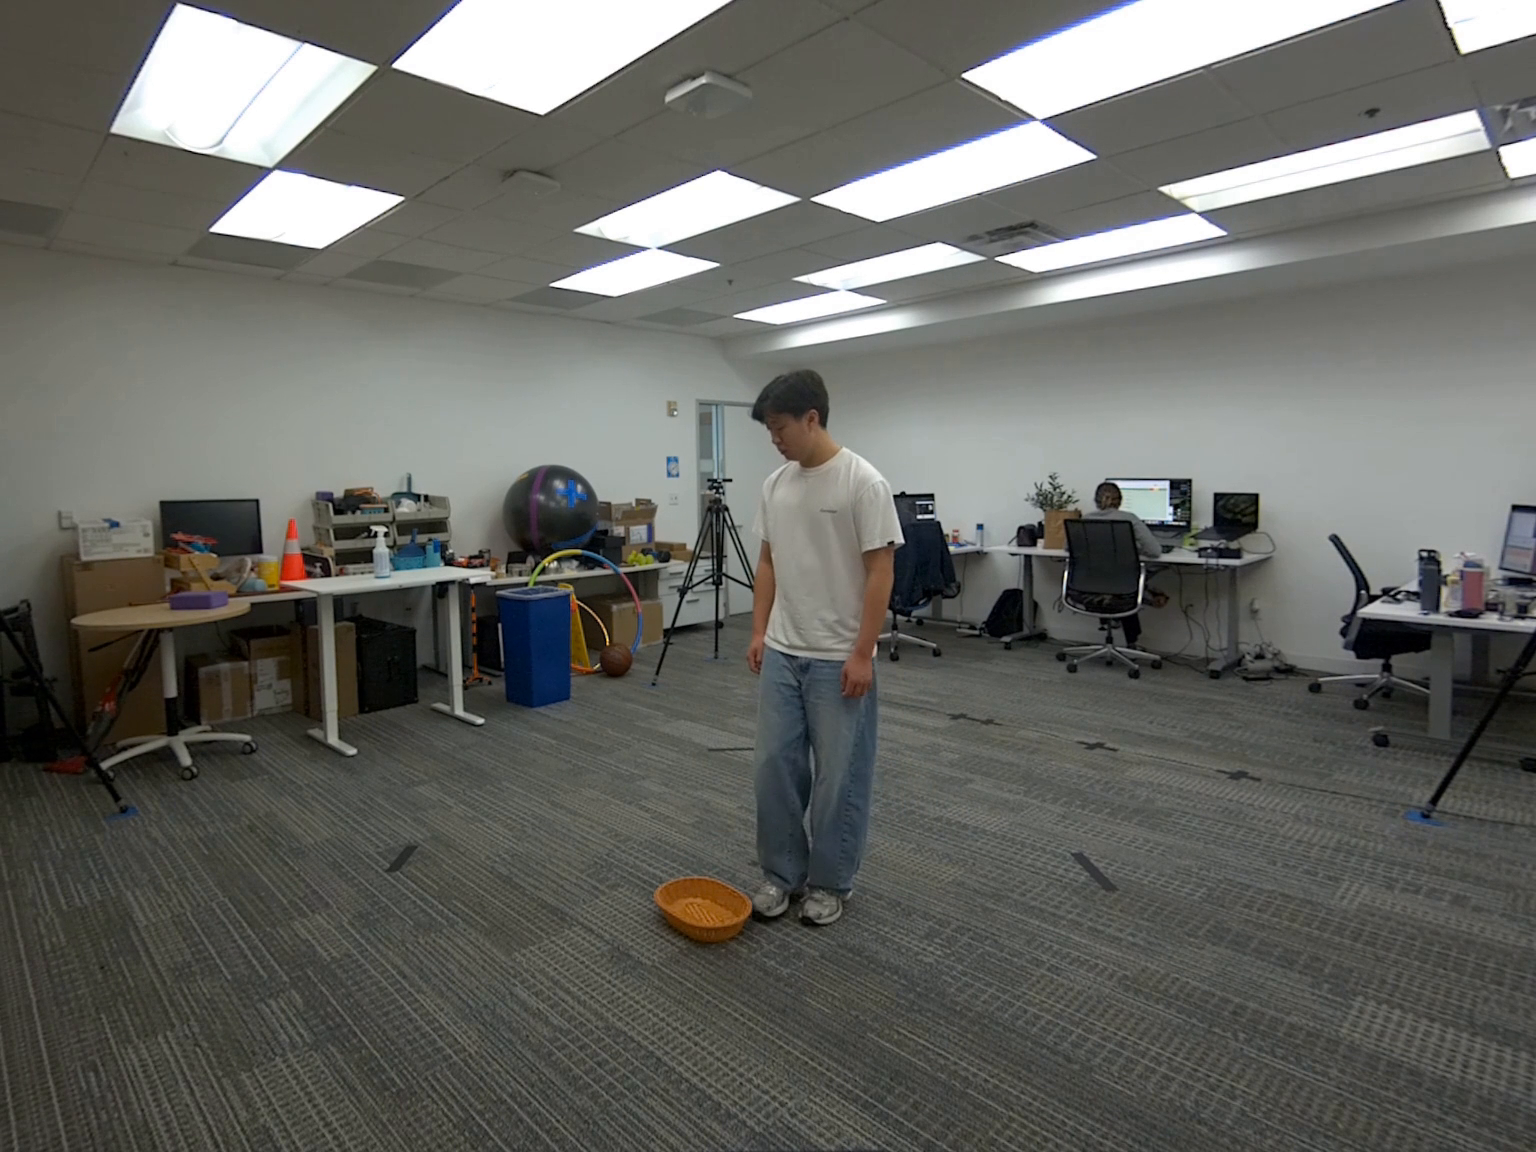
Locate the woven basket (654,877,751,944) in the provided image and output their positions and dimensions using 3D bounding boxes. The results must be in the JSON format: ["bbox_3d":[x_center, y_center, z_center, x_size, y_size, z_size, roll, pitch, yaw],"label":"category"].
[{"bbox_3d":[-0.209,1.053,2.706,0.246,0.073,0.361,-7,9,-37],"label":"woven basket"}]
